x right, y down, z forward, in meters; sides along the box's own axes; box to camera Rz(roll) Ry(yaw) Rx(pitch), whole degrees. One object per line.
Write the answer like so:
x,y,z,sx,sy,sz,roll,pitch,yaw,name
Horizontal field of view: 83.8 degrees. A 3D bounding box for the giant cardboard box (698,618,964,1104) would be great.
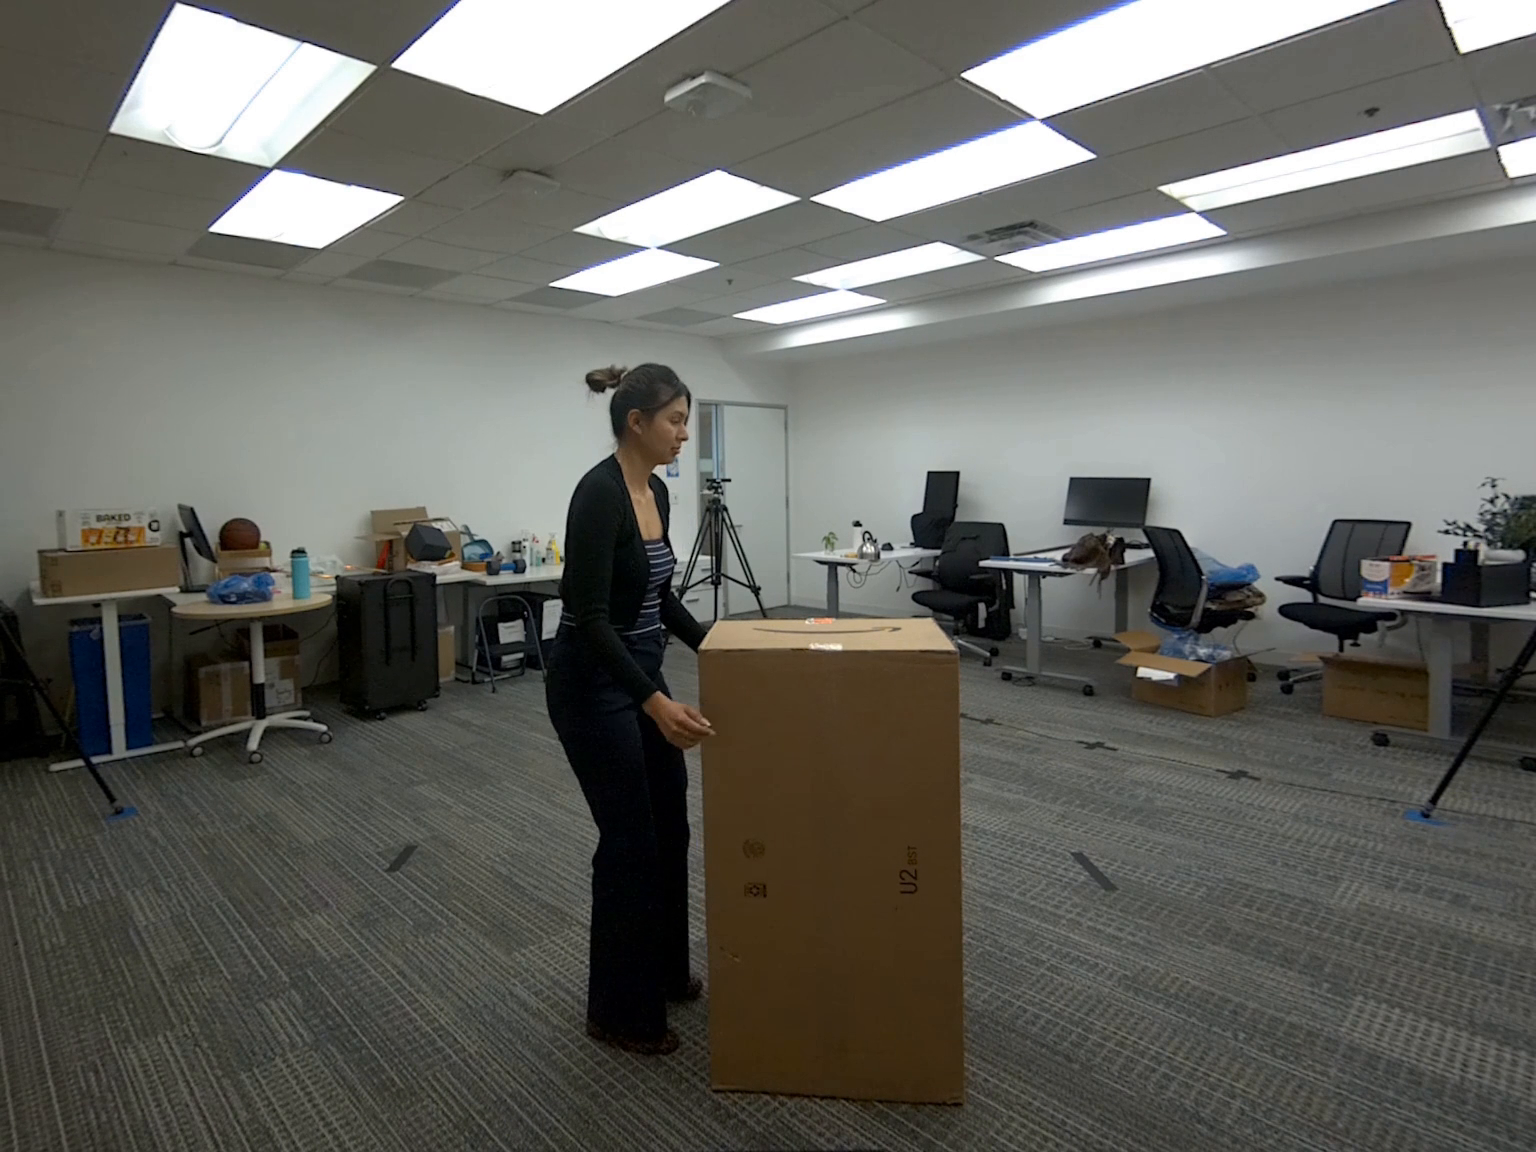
0.156,0.644,2.110,0.581,1.022,0.425,-2,4,6,giant cardboard box
